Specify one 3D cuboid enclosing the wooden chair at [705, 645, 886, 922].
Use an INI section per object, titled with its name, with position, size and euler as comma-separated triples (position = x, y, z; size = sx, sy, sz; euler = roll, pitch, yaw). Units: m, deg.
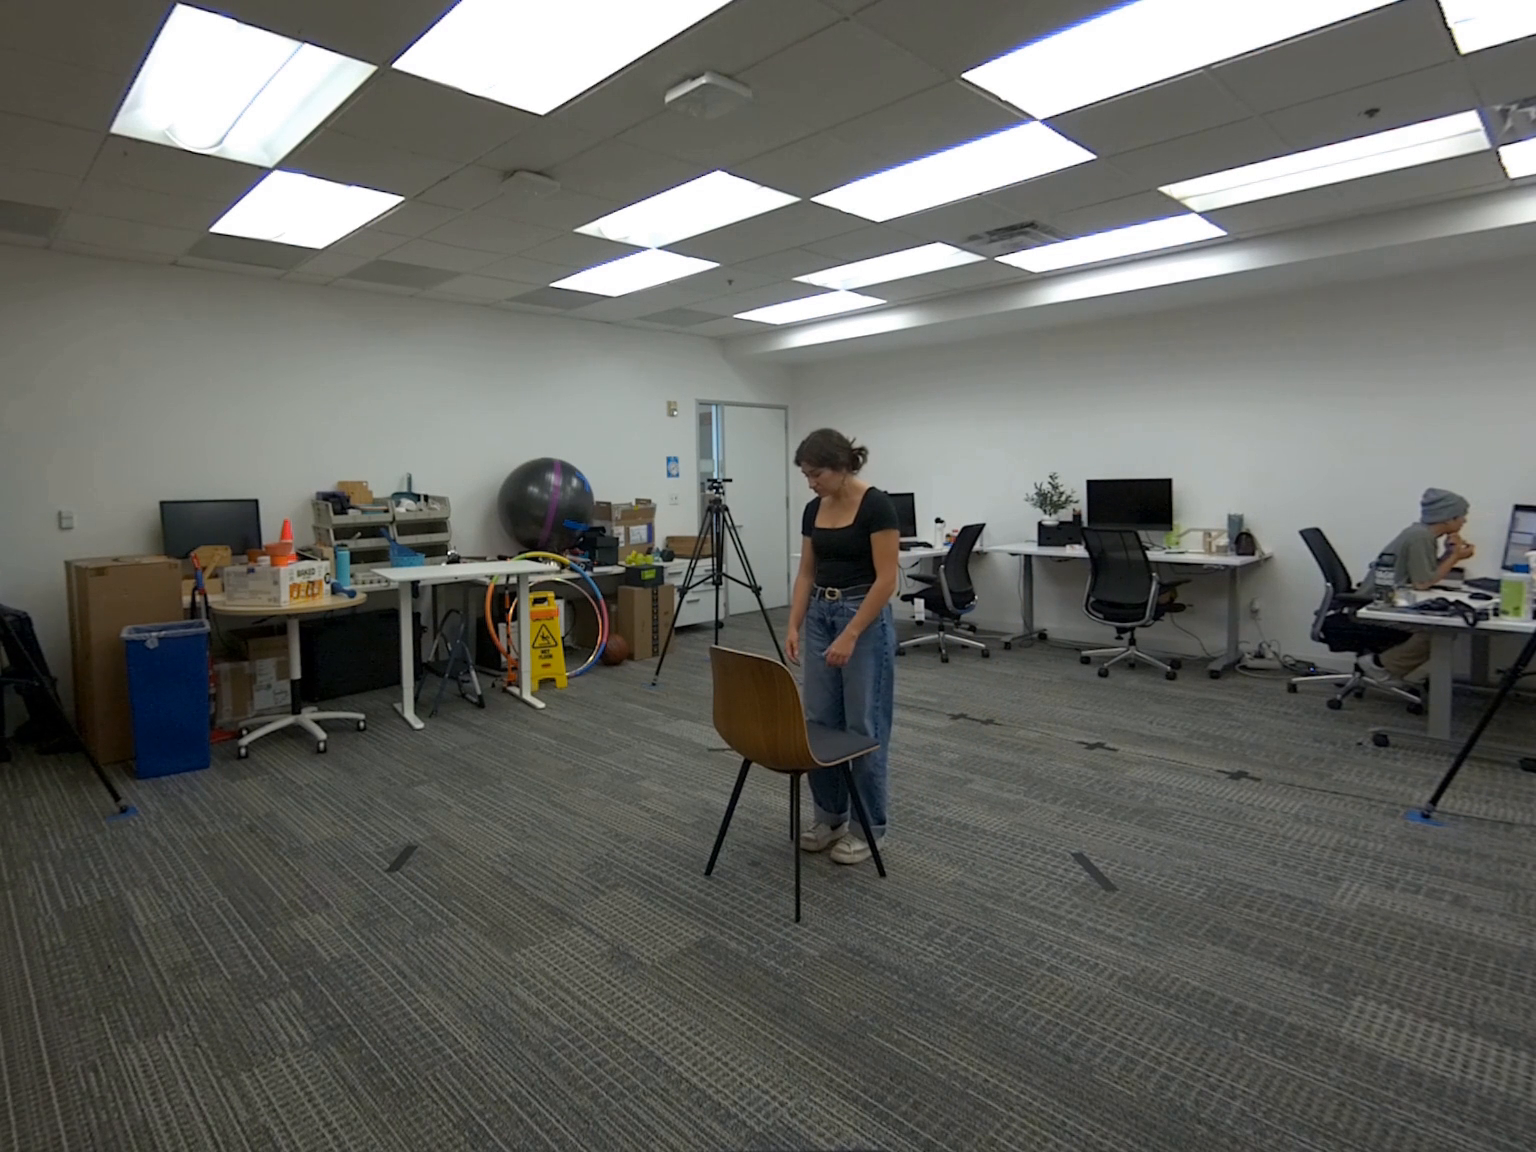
[wooden chair]
position = 0.092, 0.635, 2.969
size = 0.511, 0.872, 0.493
euler = -10, 9, -43
